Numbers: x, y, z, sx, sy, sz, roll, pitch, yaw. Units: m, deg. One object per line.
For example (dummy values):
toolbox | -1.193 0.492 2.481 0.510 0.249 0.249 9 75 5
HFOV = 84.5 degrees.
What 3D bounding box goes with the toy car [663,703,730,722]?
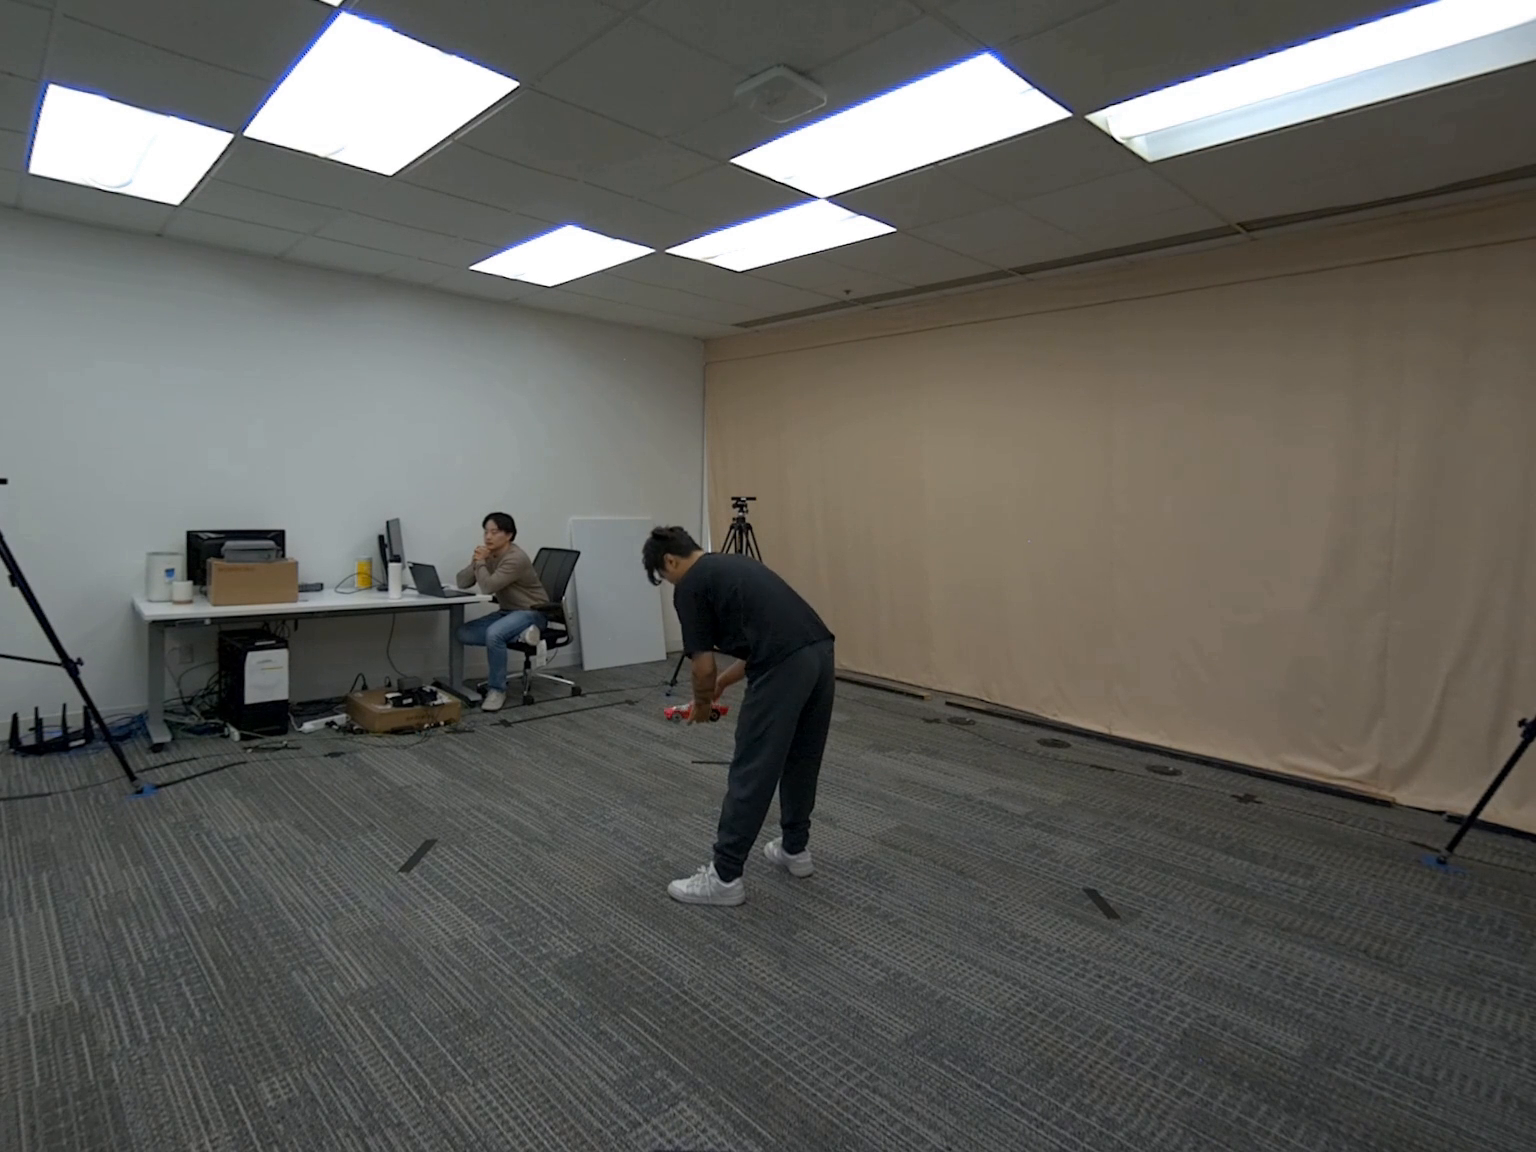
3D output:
toy car | -0.285 0.524 3.242 0.252 0.083 0.131 -9 -1 -14
